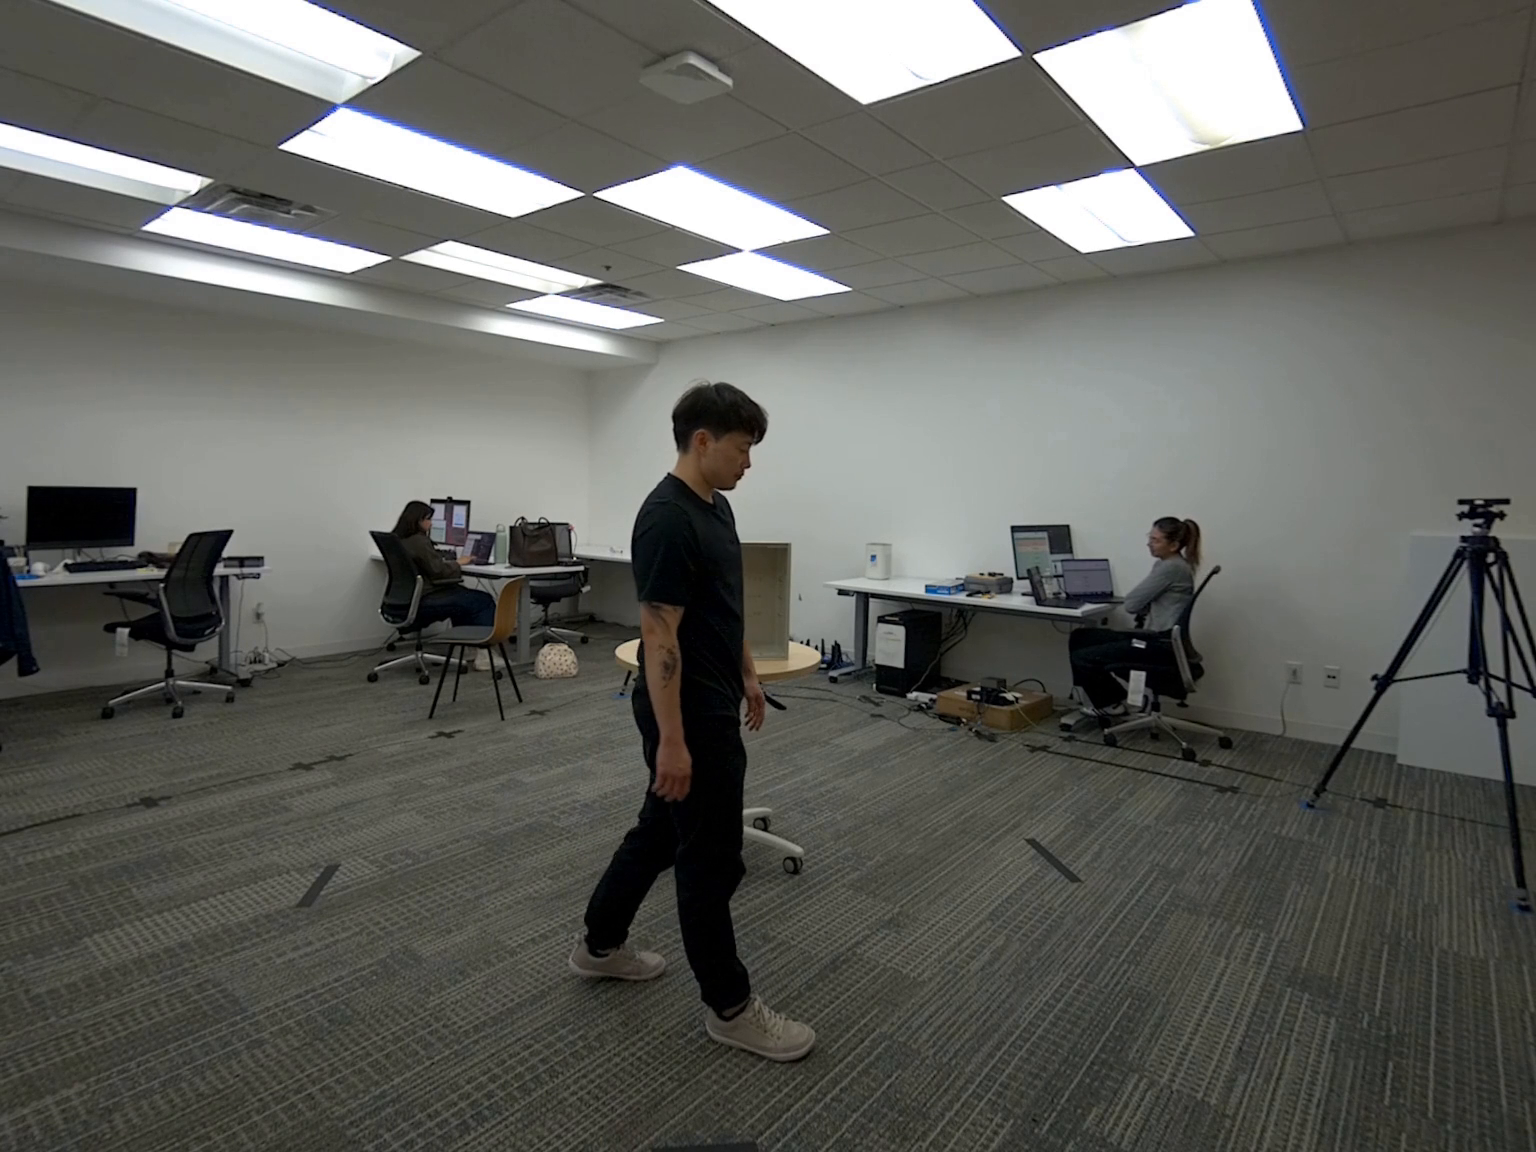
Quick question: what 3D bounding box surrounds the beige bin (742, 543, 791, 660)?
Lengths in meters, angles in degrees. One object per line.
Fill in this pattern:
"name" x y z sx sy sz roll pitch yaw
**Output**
"beige bin" -0.125 0.080 3.111 0.378 0.422 0.189 1 1 1
